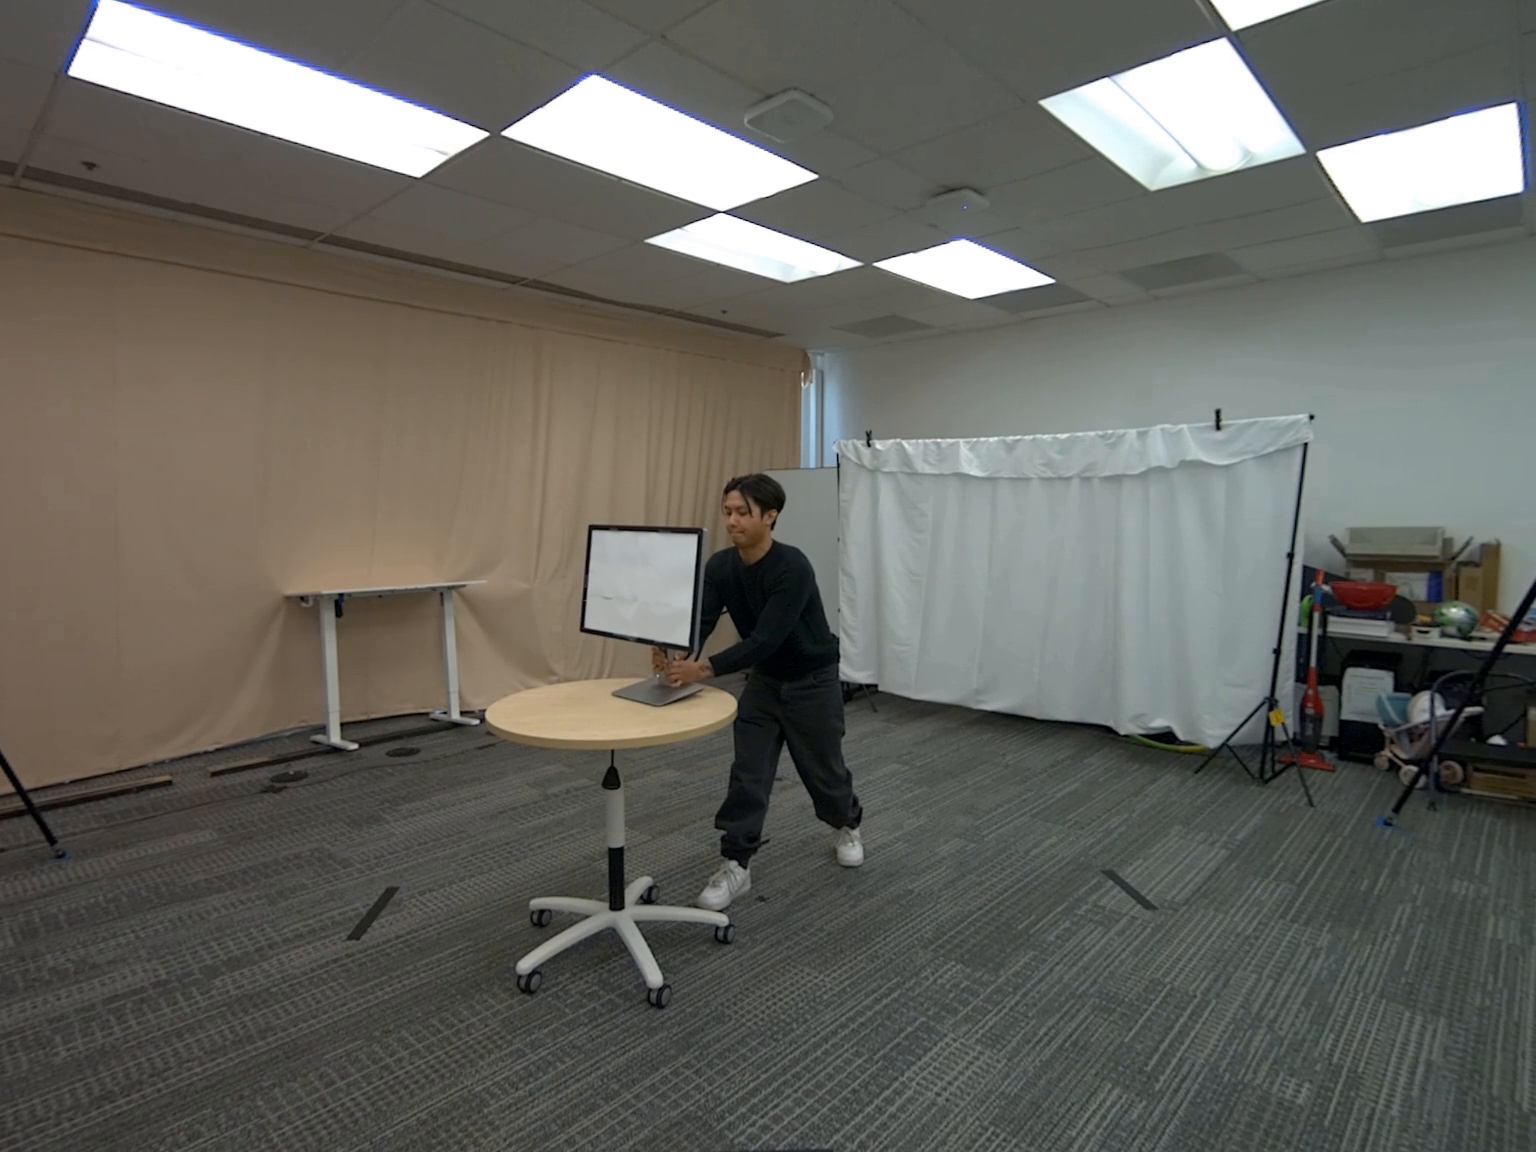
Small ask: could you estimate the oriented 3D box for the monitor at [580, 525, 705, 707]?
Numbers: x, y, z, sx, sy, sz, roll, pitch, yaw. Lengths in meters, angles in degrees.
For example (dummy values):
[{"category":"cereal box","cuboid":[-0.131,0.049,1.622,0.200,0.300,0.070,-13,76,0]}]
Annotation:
[{"category":"monitor","cuboid":[-0.373,0.114,2.671,0.557,0.520,0.182,3,9,41]}]
